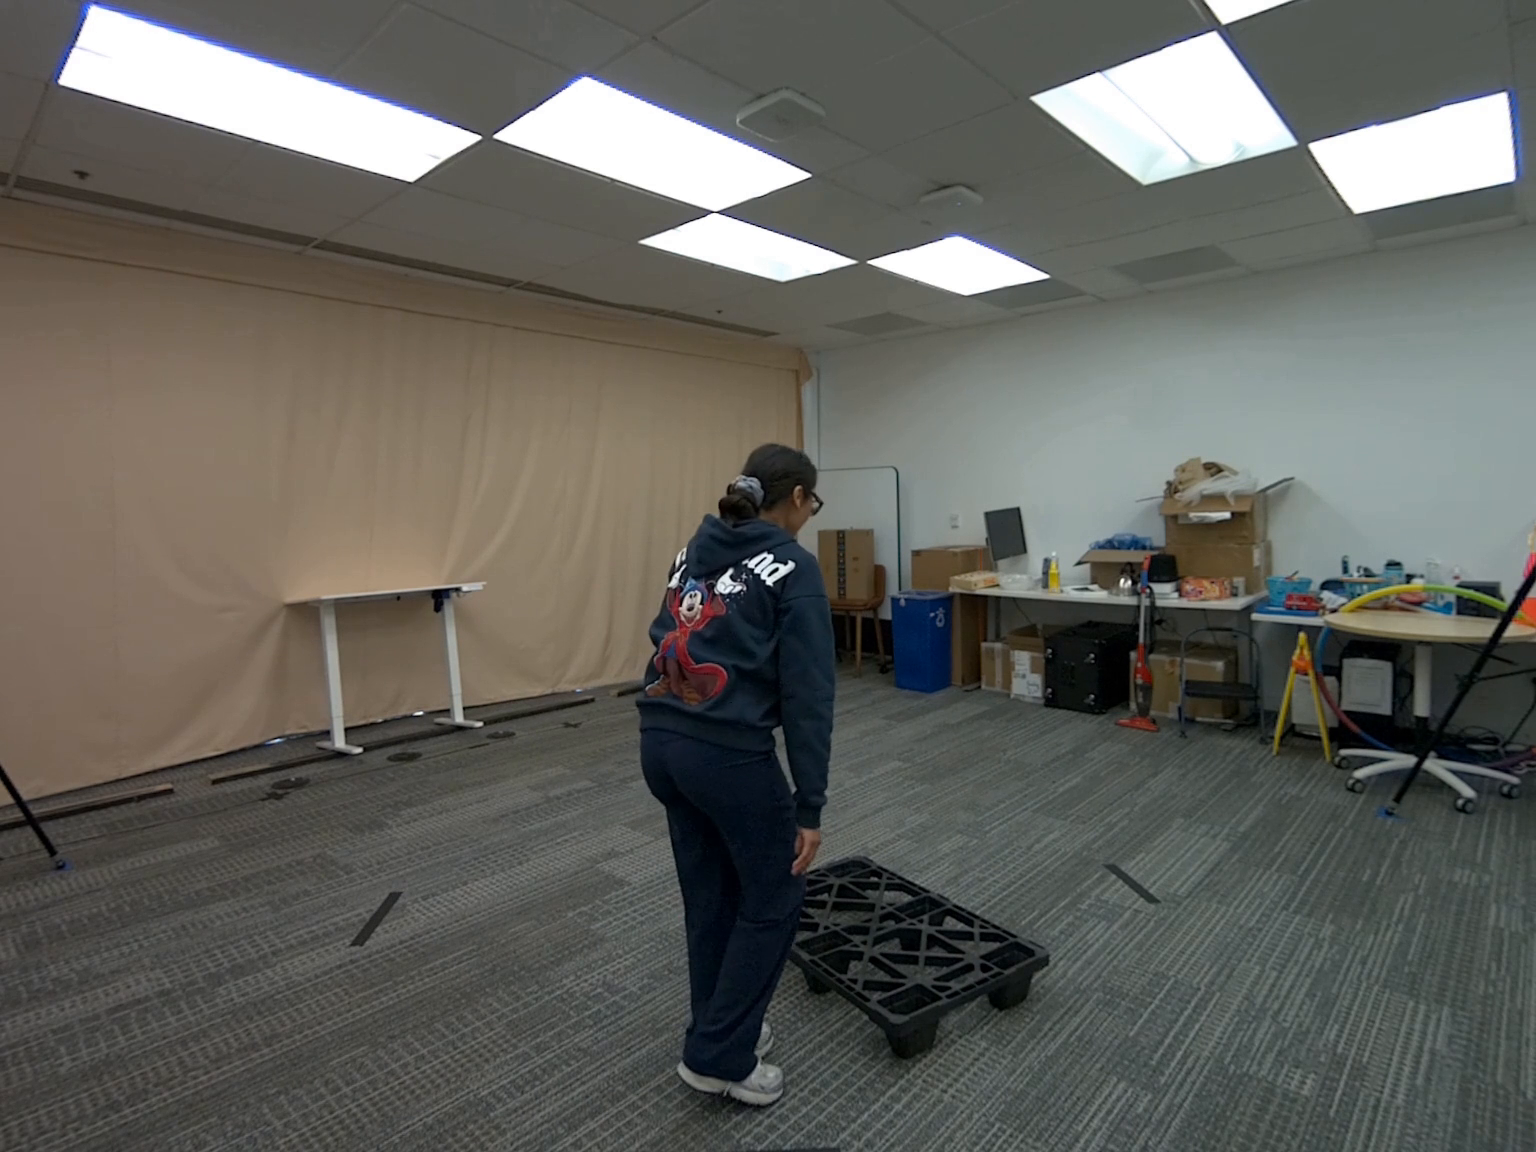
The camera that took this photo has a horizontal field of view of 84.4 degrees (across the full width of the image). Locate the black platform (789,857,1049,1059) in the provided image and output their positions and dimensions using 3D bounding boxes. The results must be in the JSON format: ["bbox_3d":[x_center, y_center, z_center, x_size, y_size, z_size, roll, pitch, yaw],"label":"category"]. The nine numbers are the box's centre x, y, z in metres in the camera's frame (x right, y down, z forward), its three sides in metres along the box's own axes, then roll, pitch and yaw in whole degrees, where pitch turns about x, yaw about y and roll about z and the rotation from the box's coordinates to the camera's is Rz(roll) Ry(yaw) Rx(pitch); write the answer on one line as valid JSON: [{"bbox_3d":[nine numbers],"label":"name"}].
[{"bbox_3d":[0.322,1.109,2.522,0.588,0.143,0.830,-5,6,-34],"label":"black platform"}]
